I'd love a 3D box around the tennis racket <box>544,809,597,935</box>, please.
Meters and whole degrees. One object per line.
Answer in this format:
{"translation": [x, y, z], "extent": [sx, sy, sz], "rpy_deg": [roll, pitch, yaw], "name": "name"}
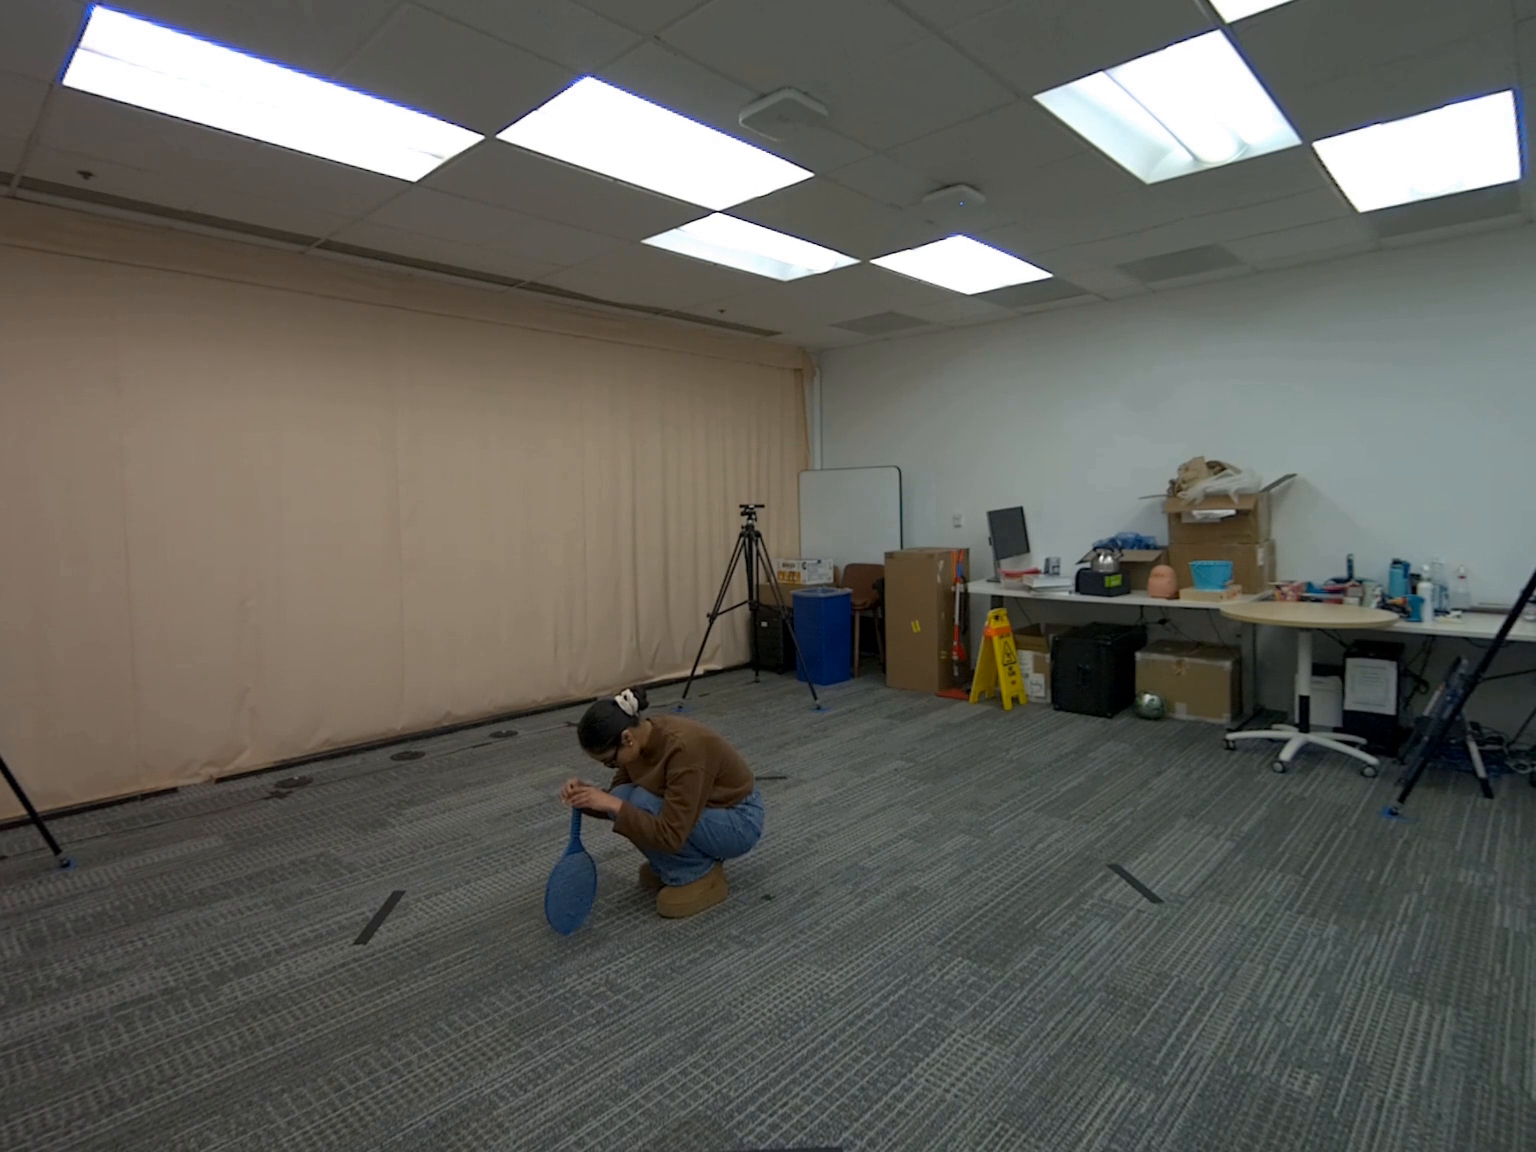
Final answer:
{"translation": [-0.637, 0.956, 2.791], "extent": [0.033, 0.434, 0.206], "rpy_deg": [-1, -9, 40], "name": "tennis racket"}
